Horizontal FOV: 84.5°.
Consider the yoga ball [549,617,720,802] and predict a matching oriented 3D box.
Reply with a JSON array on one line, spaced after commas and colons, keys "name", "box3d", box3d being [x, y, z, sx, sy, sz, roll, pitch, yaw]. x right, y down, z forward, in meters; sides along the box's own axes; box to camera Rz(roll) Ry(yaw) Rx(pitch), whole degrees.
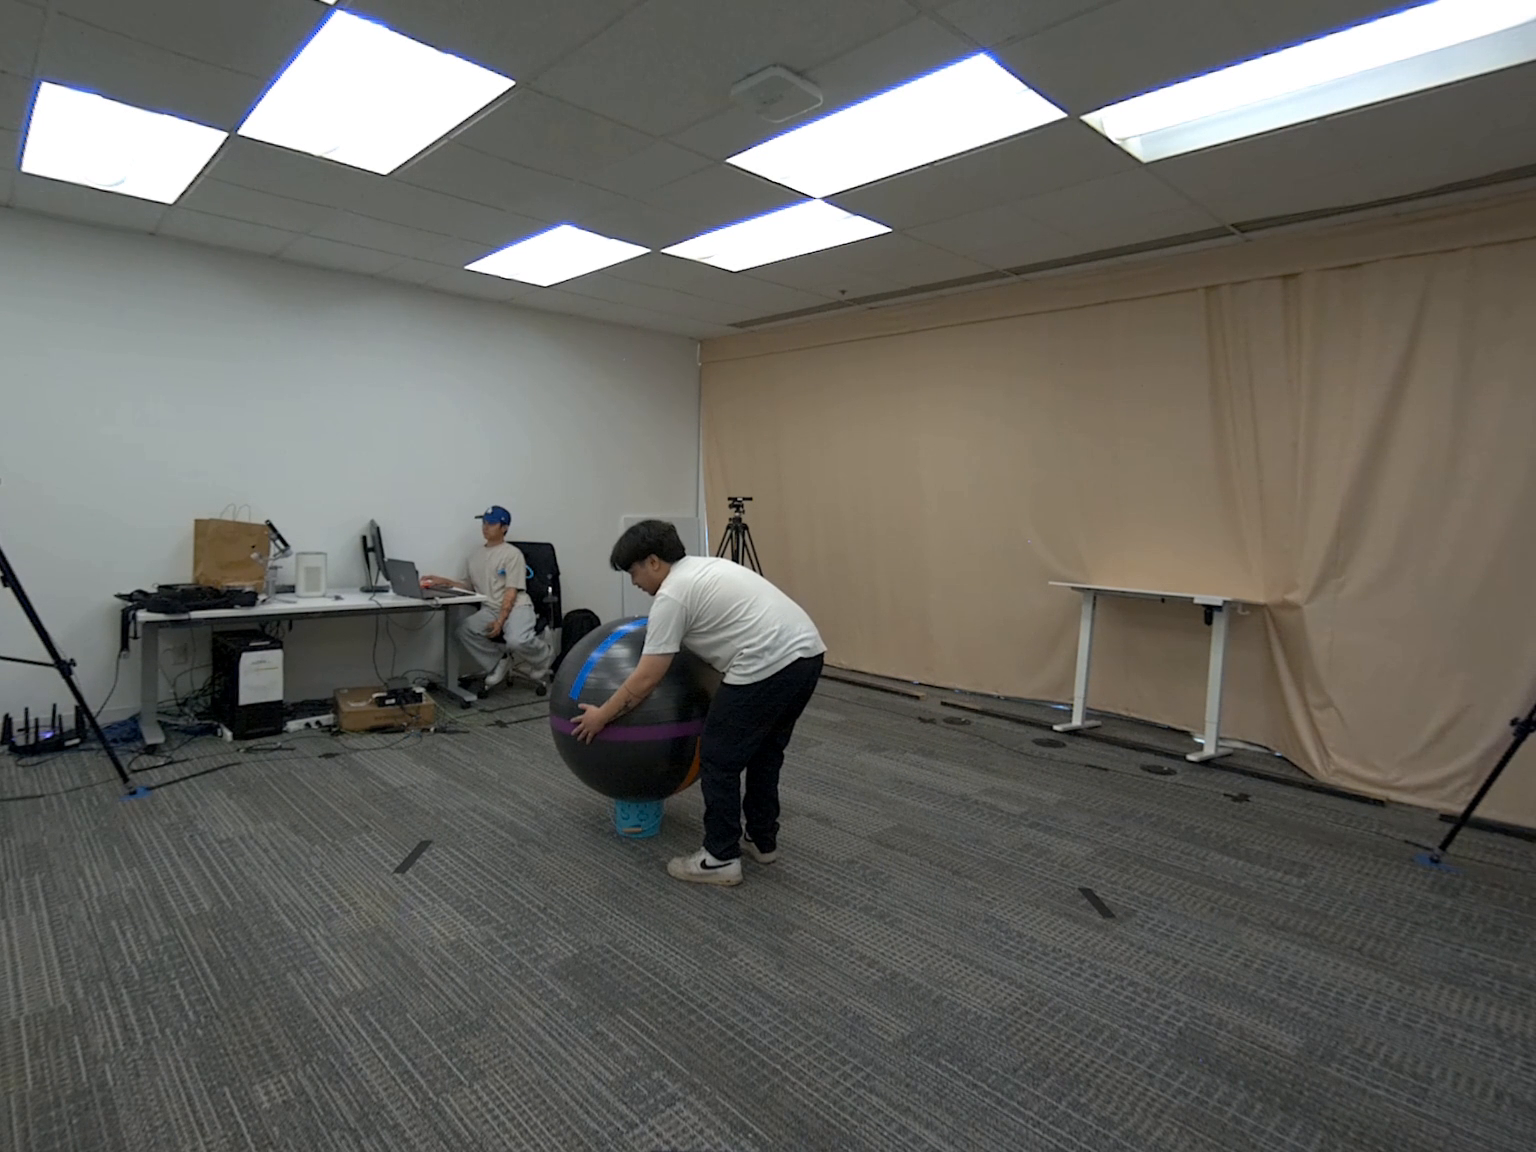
[{"name": "yoga ball", "box3d": [-0.533, 0.548, 3.511, 0.757, 0.756, 0.761, 1, 4, -1]}]
